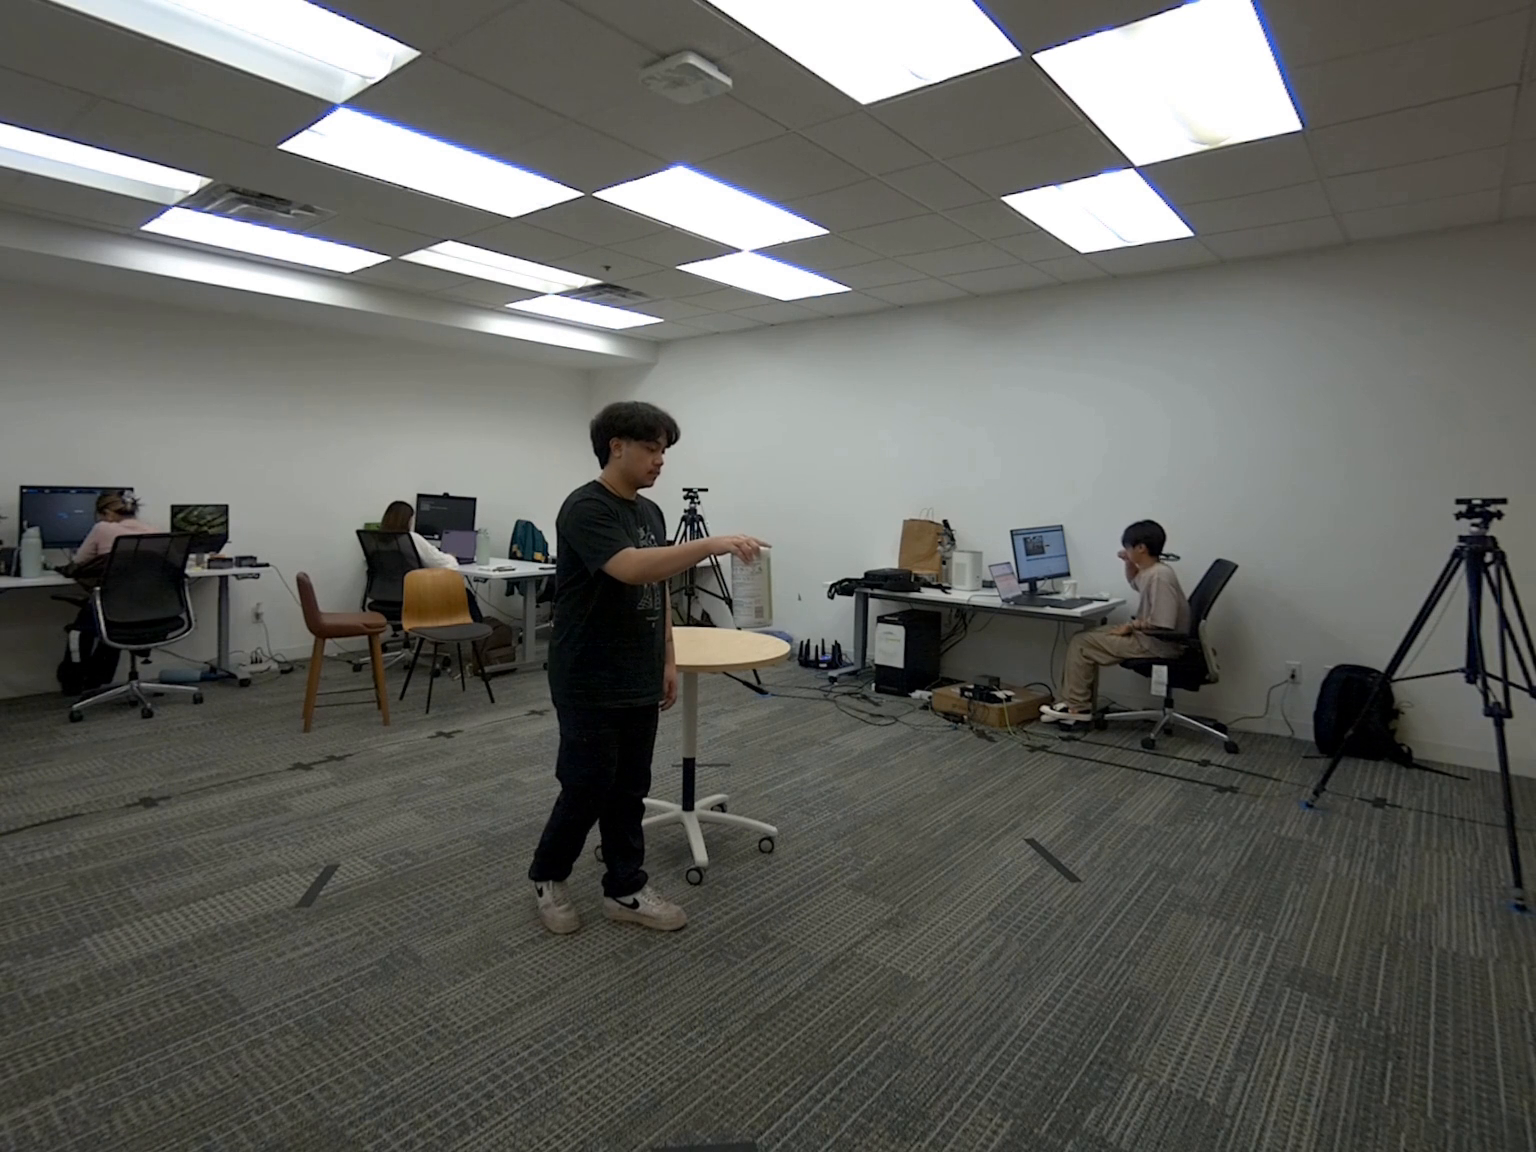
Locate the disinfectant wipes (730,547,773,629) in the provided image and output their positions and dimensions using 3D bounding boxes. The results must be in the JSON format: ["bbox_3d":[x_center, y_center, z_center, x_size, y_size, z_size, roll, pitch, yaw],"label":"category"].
[{"bbox_3d":[-0.053,0.034,2.318,0.118,0.217,0.118,0,1,-2],"label":"disinfectant wipes"}]
